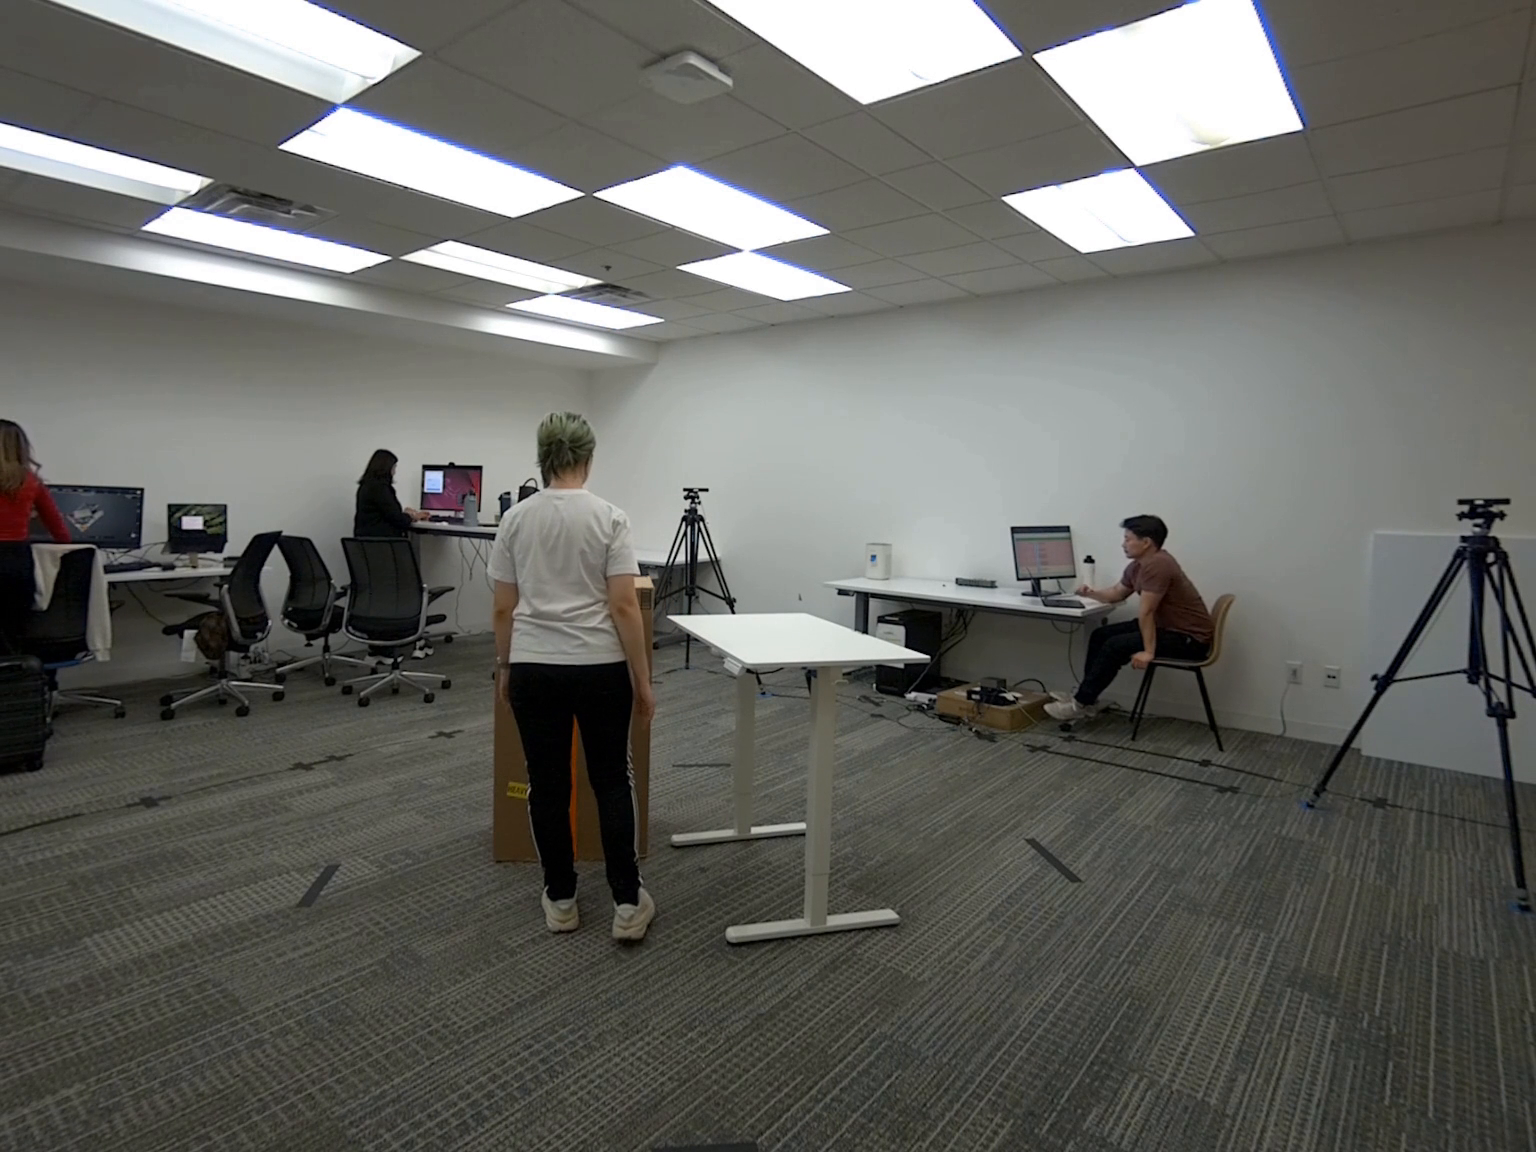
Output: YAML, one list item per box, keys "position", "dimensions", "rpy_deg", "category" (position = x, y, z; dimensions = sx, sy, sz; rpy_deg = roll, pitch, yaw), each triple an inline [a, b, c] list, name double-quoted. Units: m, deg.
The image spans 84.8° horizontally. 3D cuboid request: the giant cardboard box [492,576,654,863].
- position: [-0.766, 0.529, 3.352]
  dimensions: [0.579, 1.025, 0.451]
  rpy_deg: [1, 2, -8]
  category: "giant cardboard box"
